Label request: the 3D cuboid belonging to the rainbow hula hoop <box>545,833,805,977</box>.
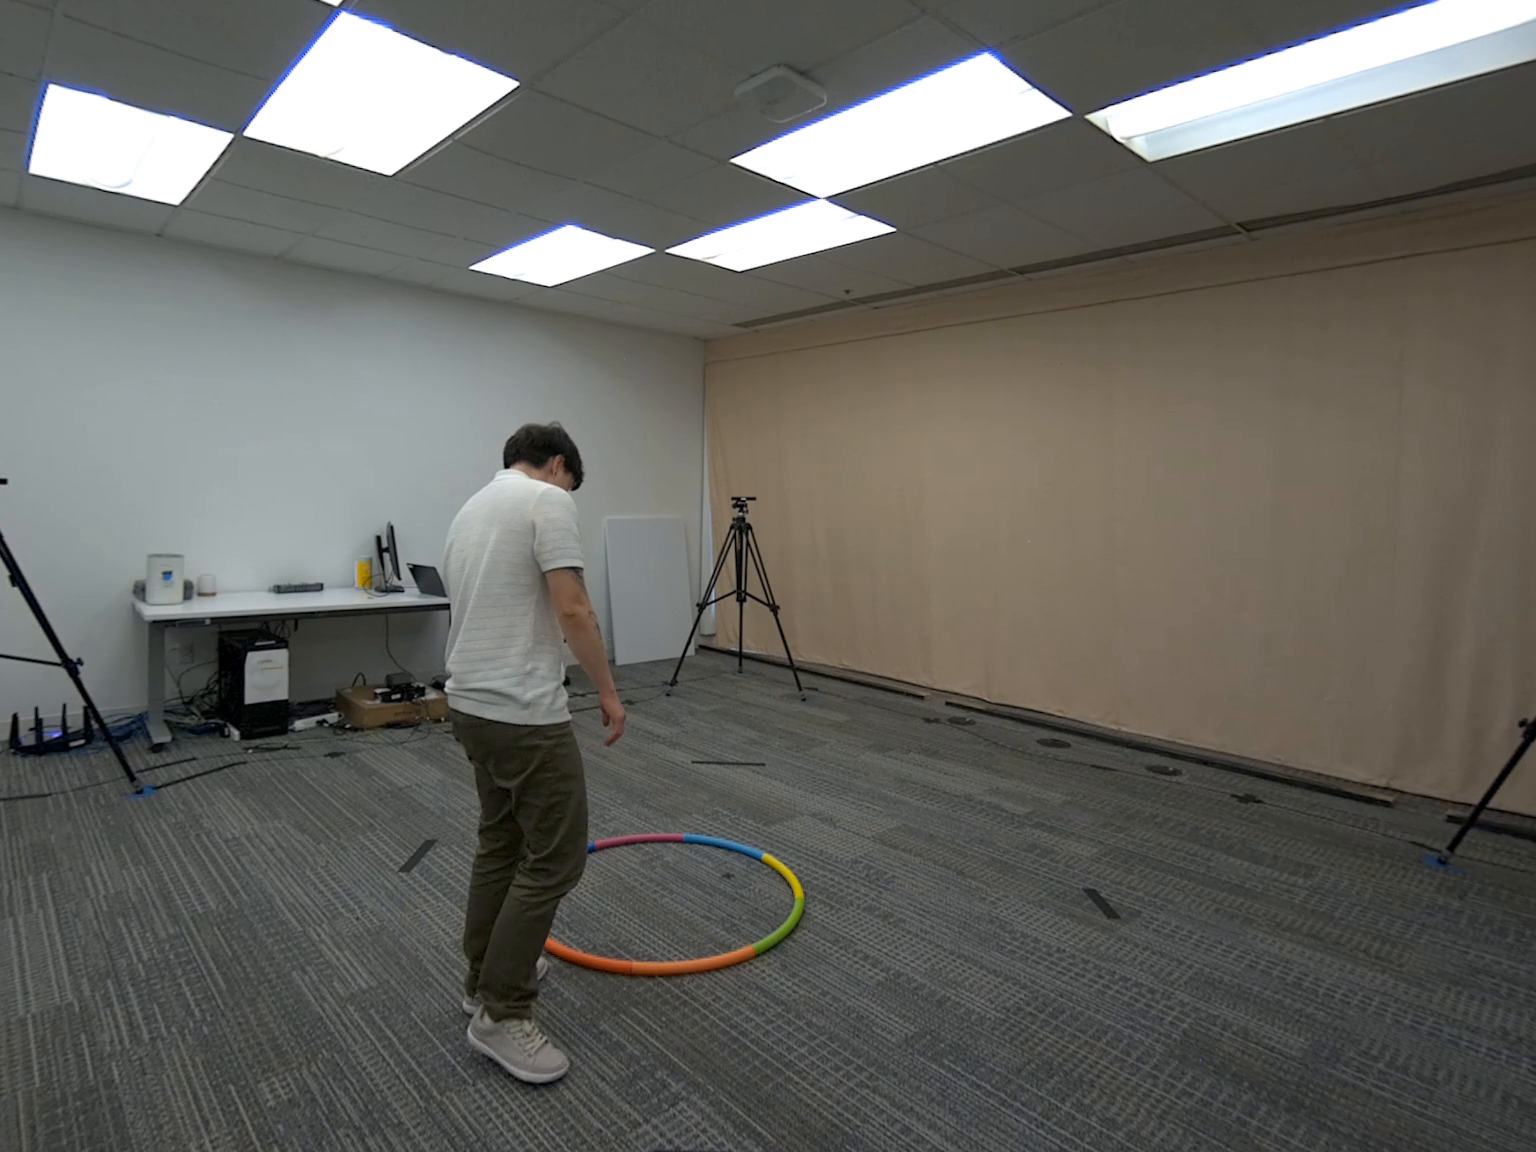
[{"bbox_3d":[-0.371,1.087,2.926,0.978,0.035,0.982,1,5,-1],"label":"rainbow hula hoop"}]
